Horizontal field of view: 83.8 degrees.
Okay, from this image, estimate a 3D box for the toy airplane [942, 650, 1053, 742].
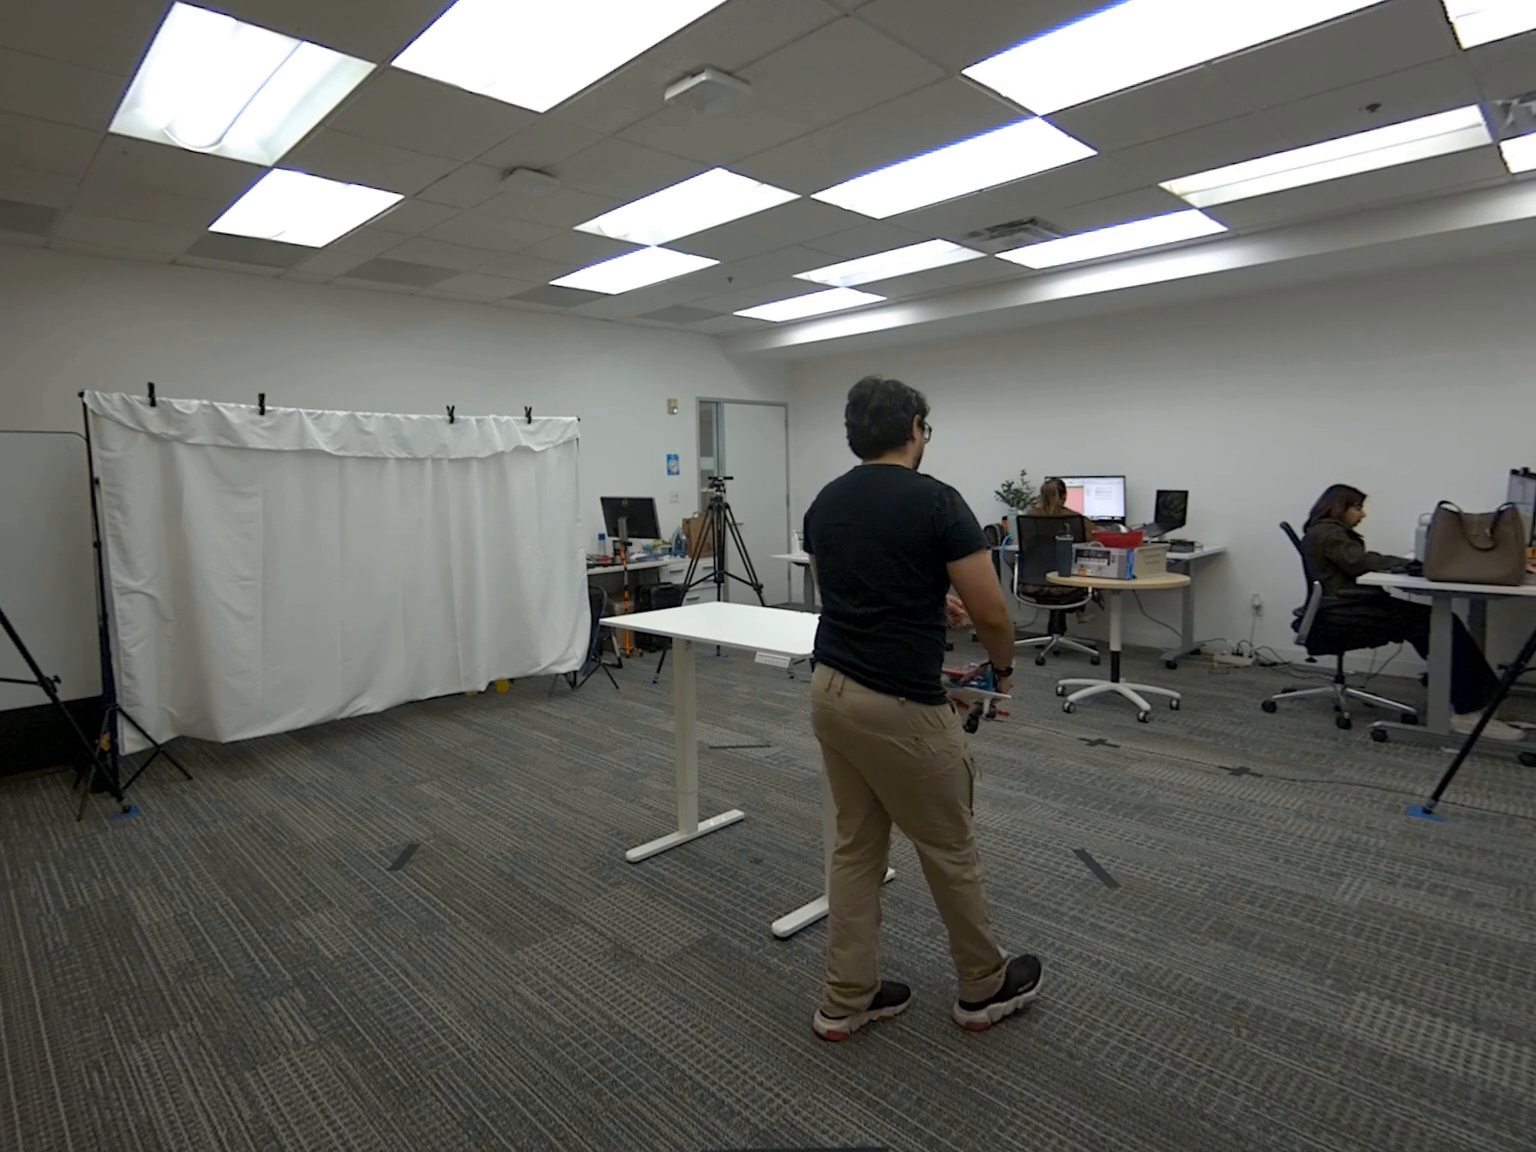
[{"bbox_3d":[0.556,0.320,2.256,0.243,0.159,0.264,24,-26,-32],"label":"toy airplane"}]
